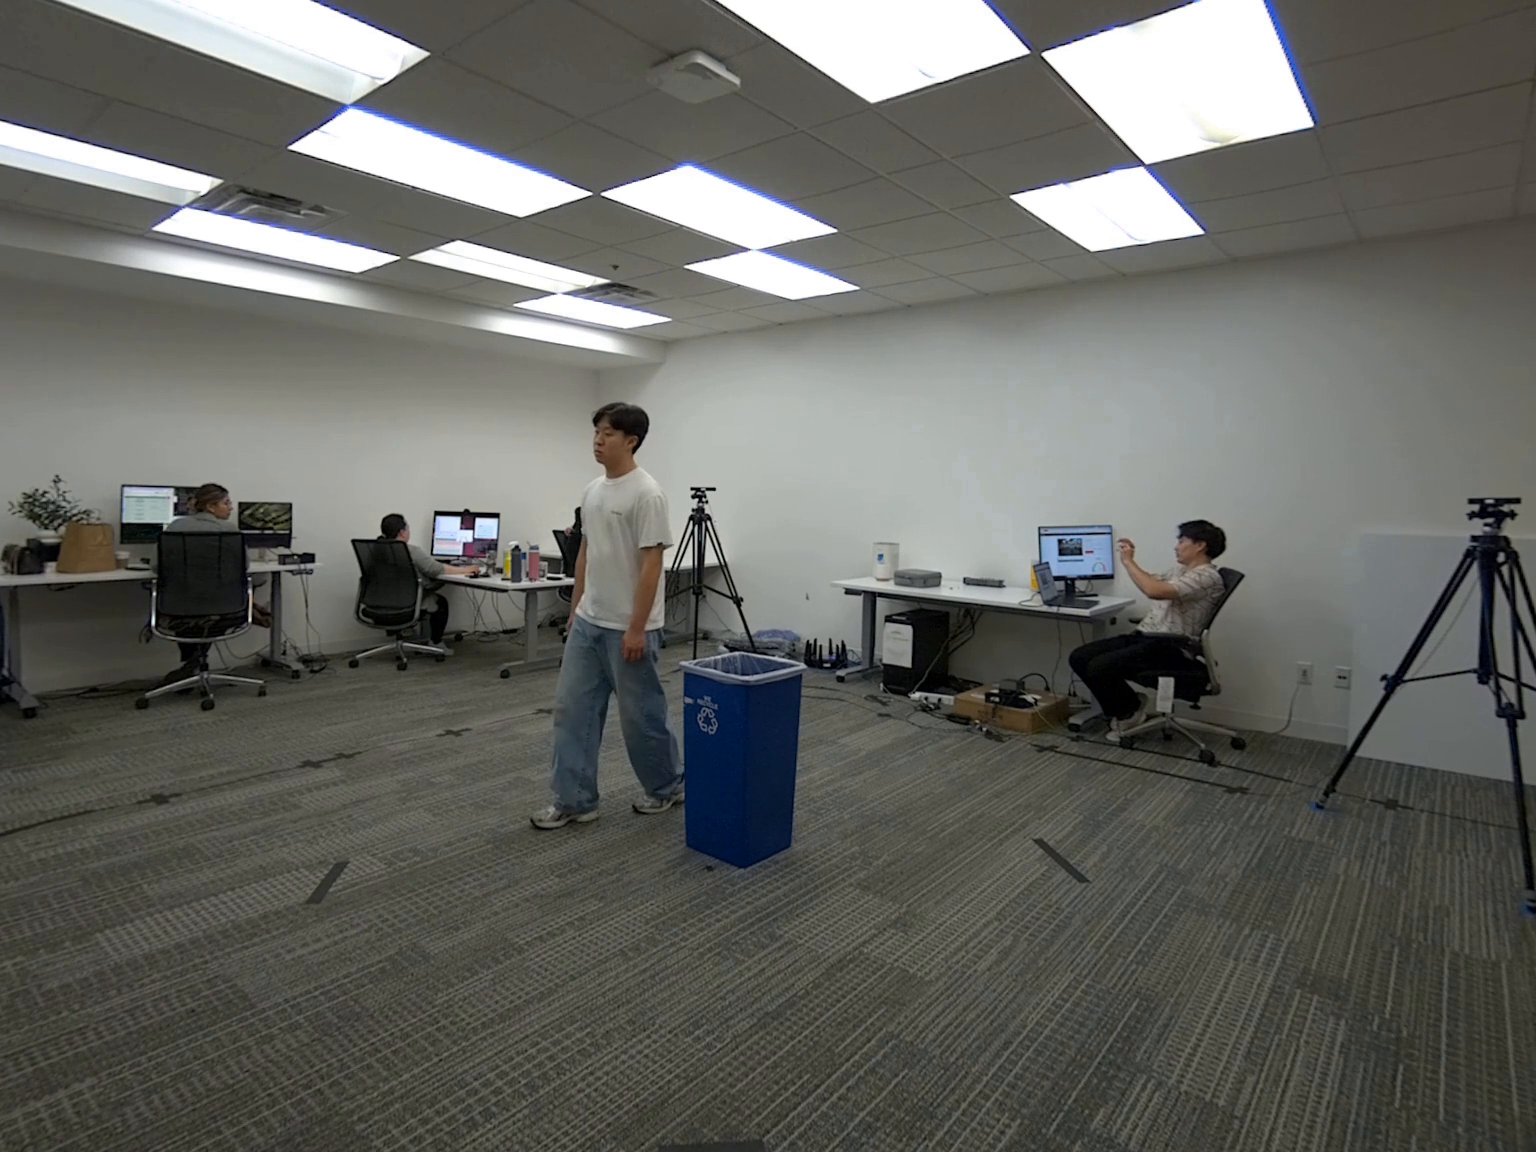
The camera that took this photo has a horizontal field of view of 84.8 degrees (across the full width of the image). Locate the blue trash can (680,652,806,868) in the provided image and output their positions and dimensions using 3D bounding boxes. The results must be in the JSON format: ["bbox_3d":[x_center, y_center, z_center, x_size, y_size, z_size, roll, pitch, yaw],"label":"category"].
[{"bbox_3d":[-0.106,0.691,3.292,0.386,0.712,0.367,3,4,40],"label":"blue trash can"}]
